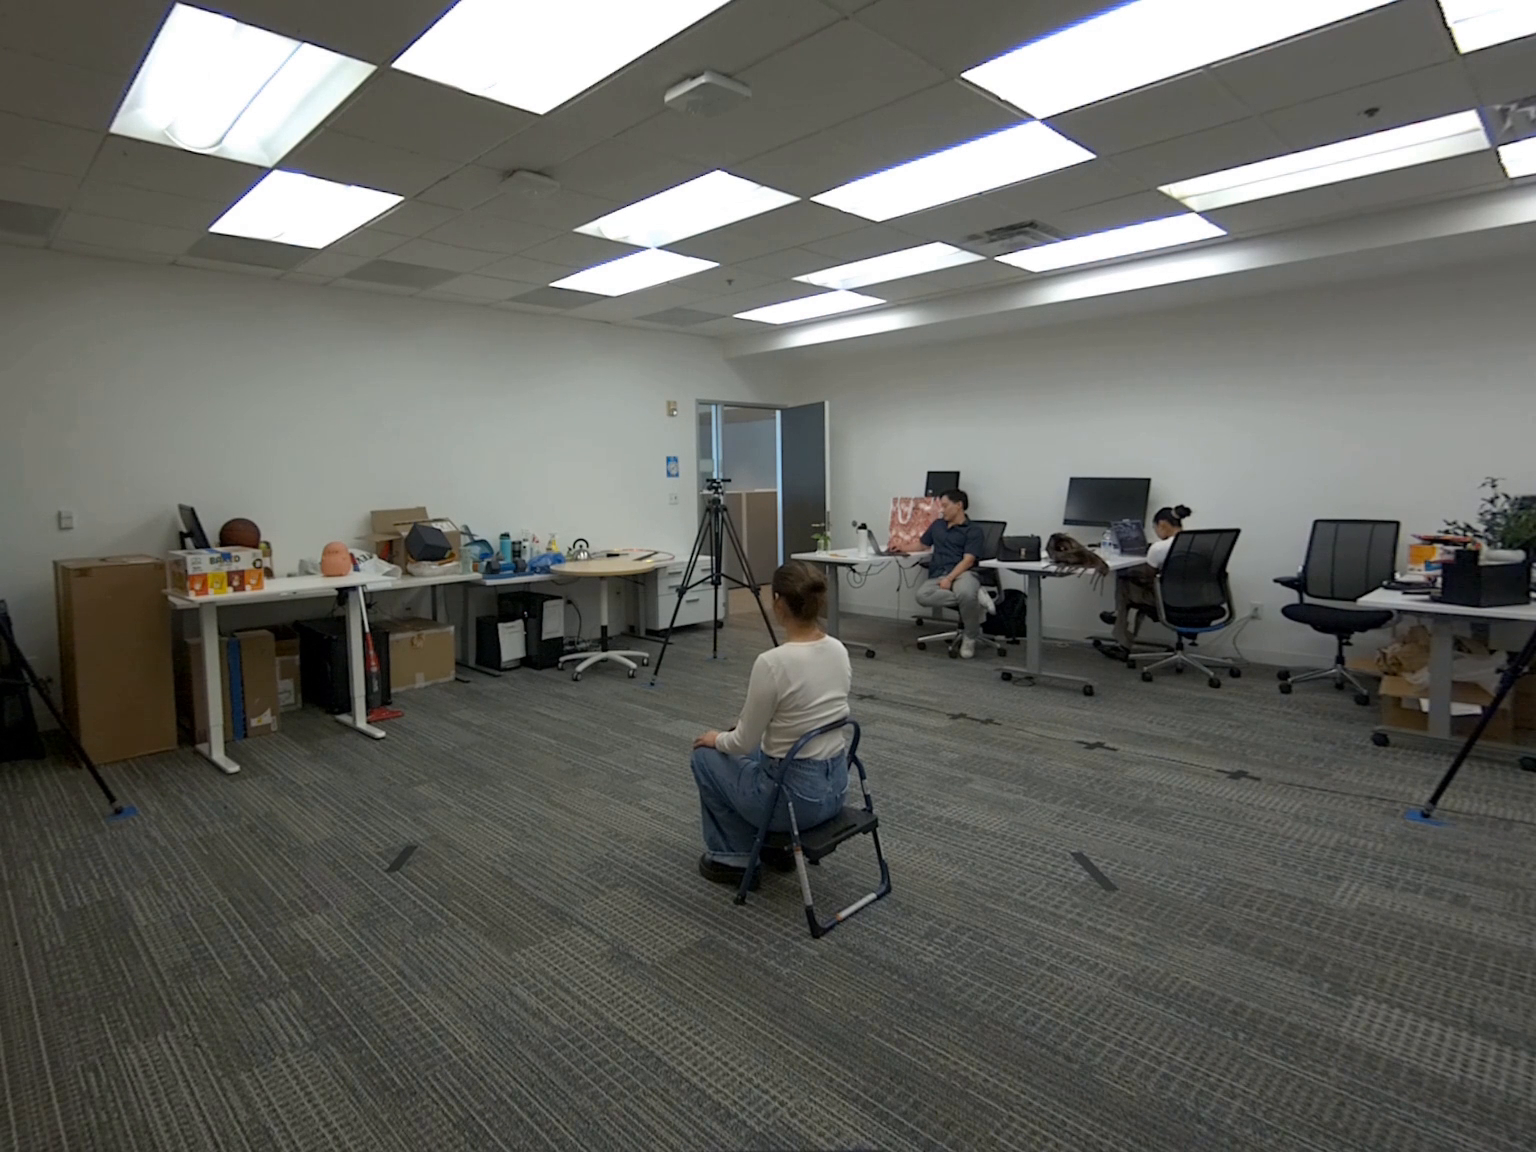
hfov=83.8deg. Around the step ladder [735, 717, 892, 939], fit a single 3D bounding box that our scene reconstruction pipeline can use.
[{"bbox_3d":[0.153,0.767,2.828,0.360,0.604,0.419,3,6,42],"label":"step ladder"}]
